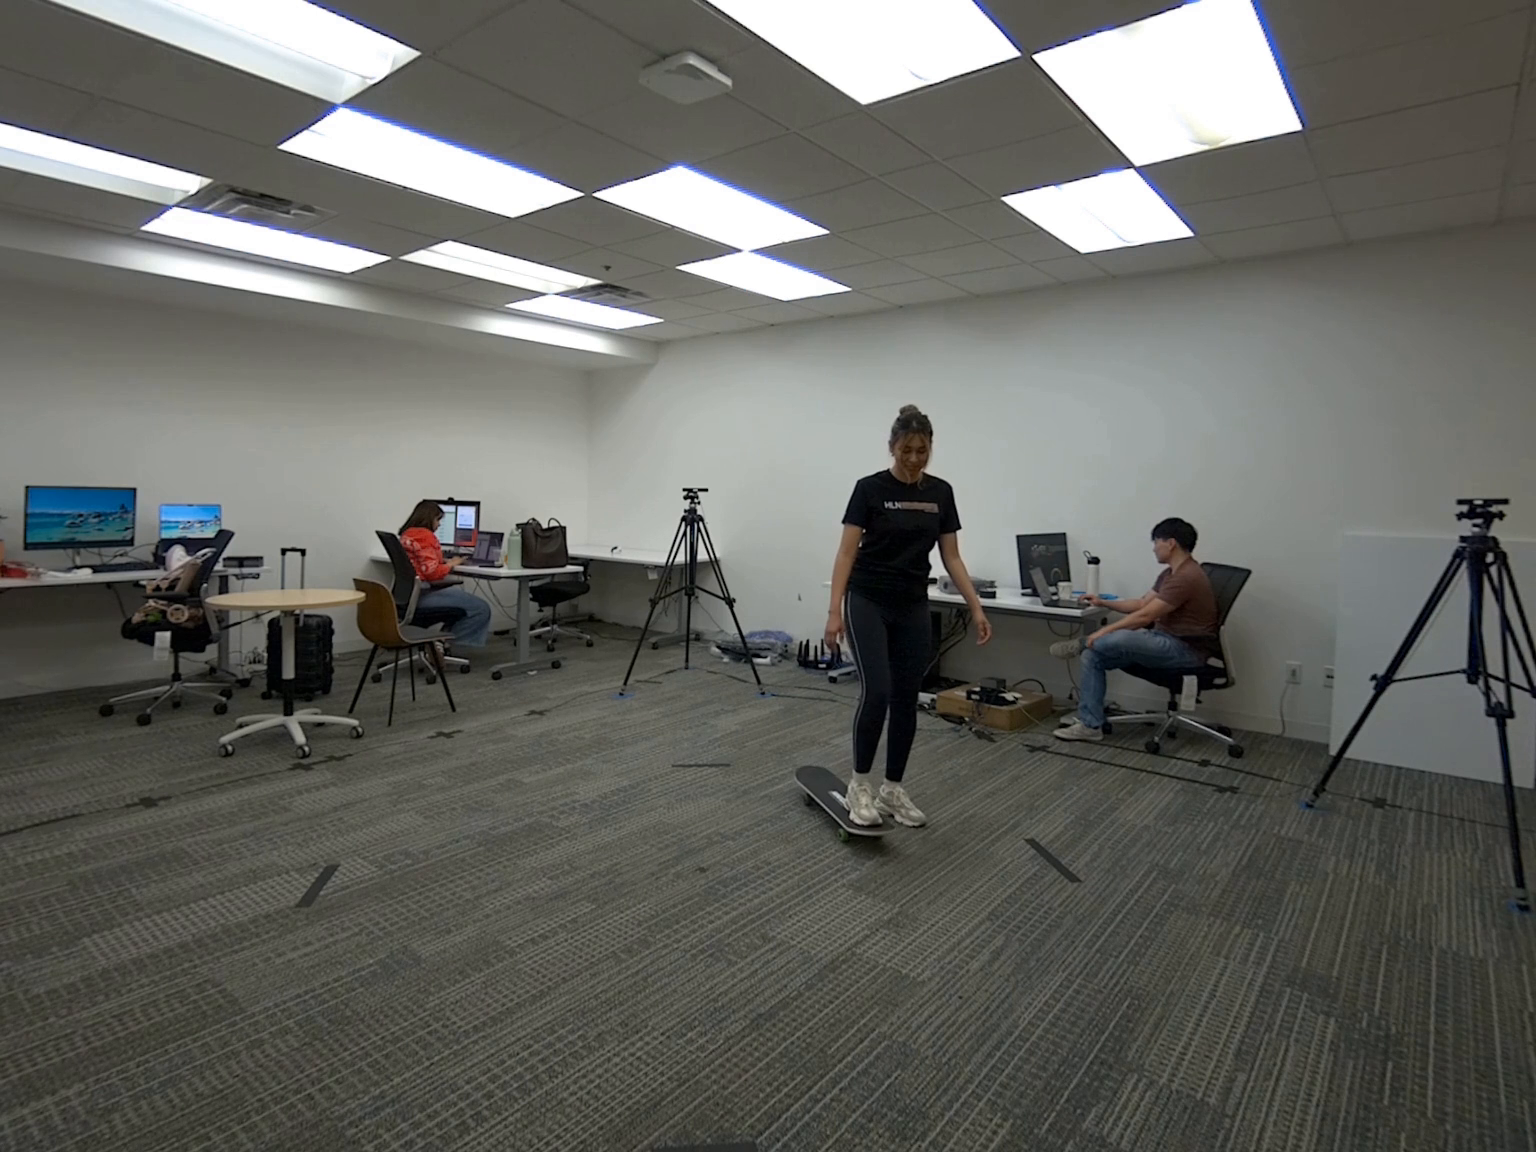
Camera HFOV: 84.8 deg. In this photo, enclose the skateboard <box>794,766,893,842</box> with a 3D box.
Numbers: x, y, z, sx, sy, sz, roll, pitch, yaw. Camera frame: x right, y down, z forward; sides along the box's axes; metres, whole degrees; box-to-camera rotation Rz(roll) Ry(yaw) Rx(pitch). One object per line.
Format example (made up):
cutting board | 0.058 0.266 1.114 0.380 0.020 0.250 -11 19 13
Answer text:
skateboard | 0.300 0.976 3.602 0.190 0.110 0.802 -1 7 -17
